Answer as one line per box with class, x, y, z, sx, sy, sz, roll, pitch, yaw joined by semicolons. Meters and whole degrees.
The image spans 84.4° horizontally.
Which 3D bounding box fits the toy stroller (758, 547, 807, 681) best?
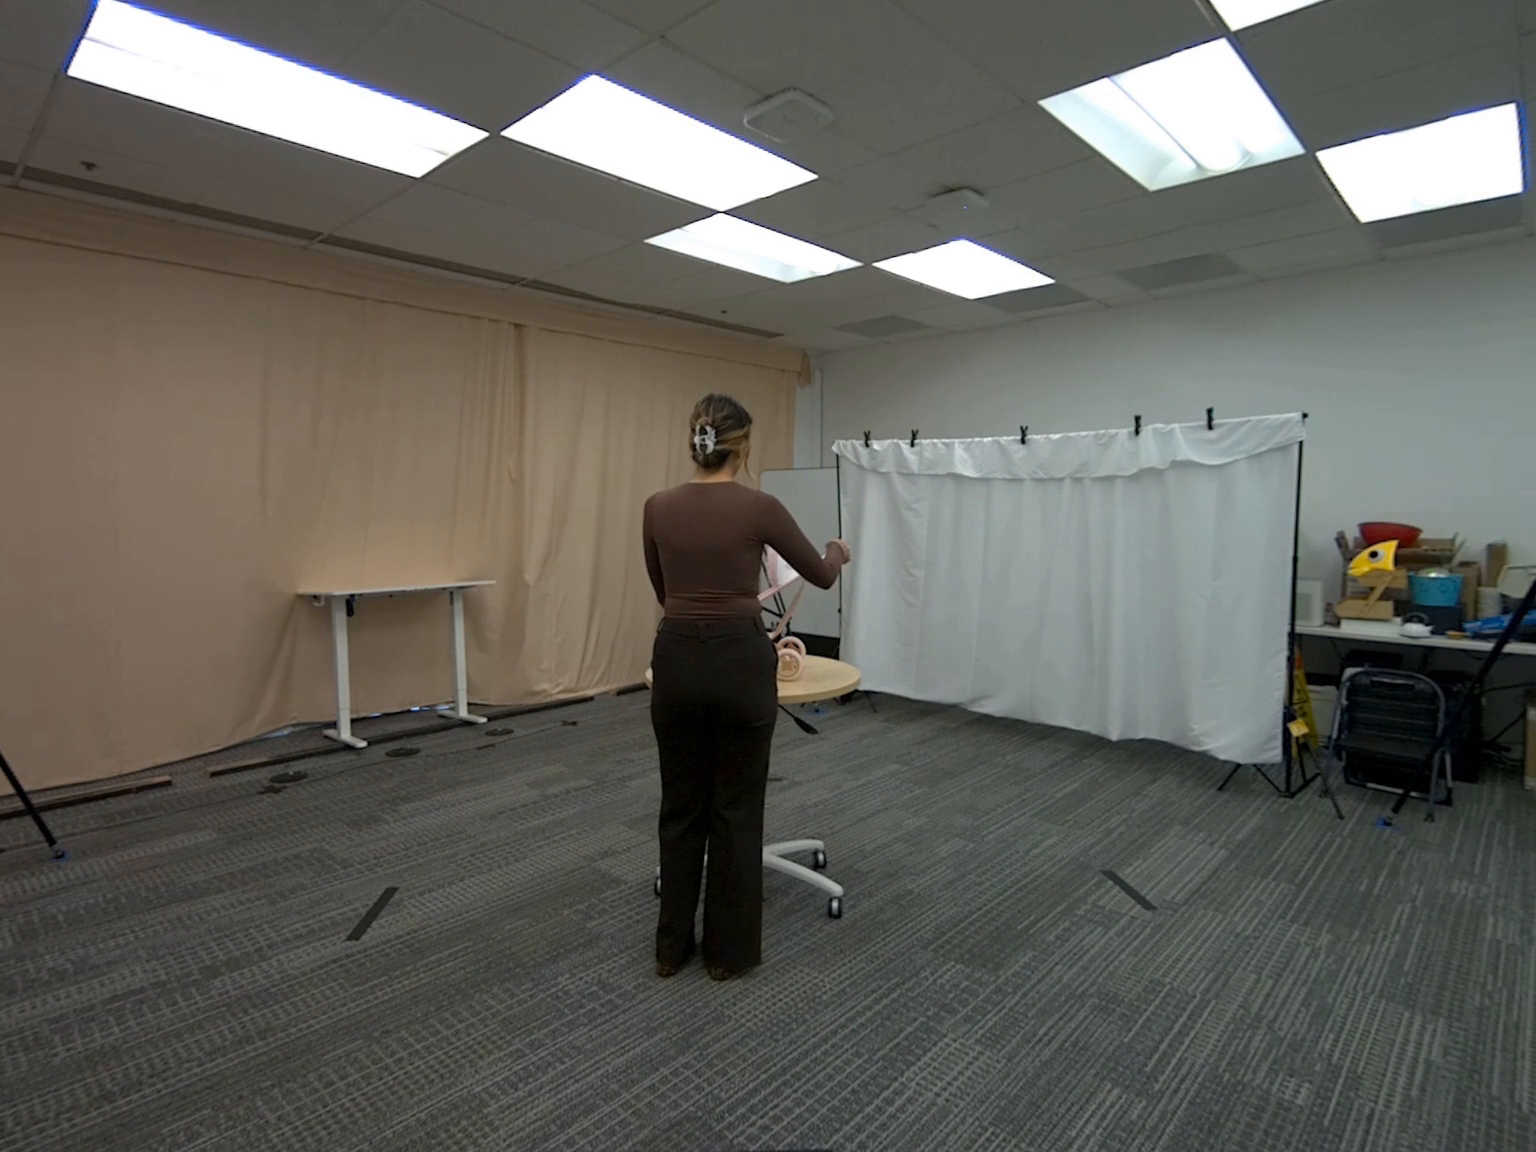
toy stroller;0.009;0.122;2.981;0.345;0.534;0.279;16;6;8
